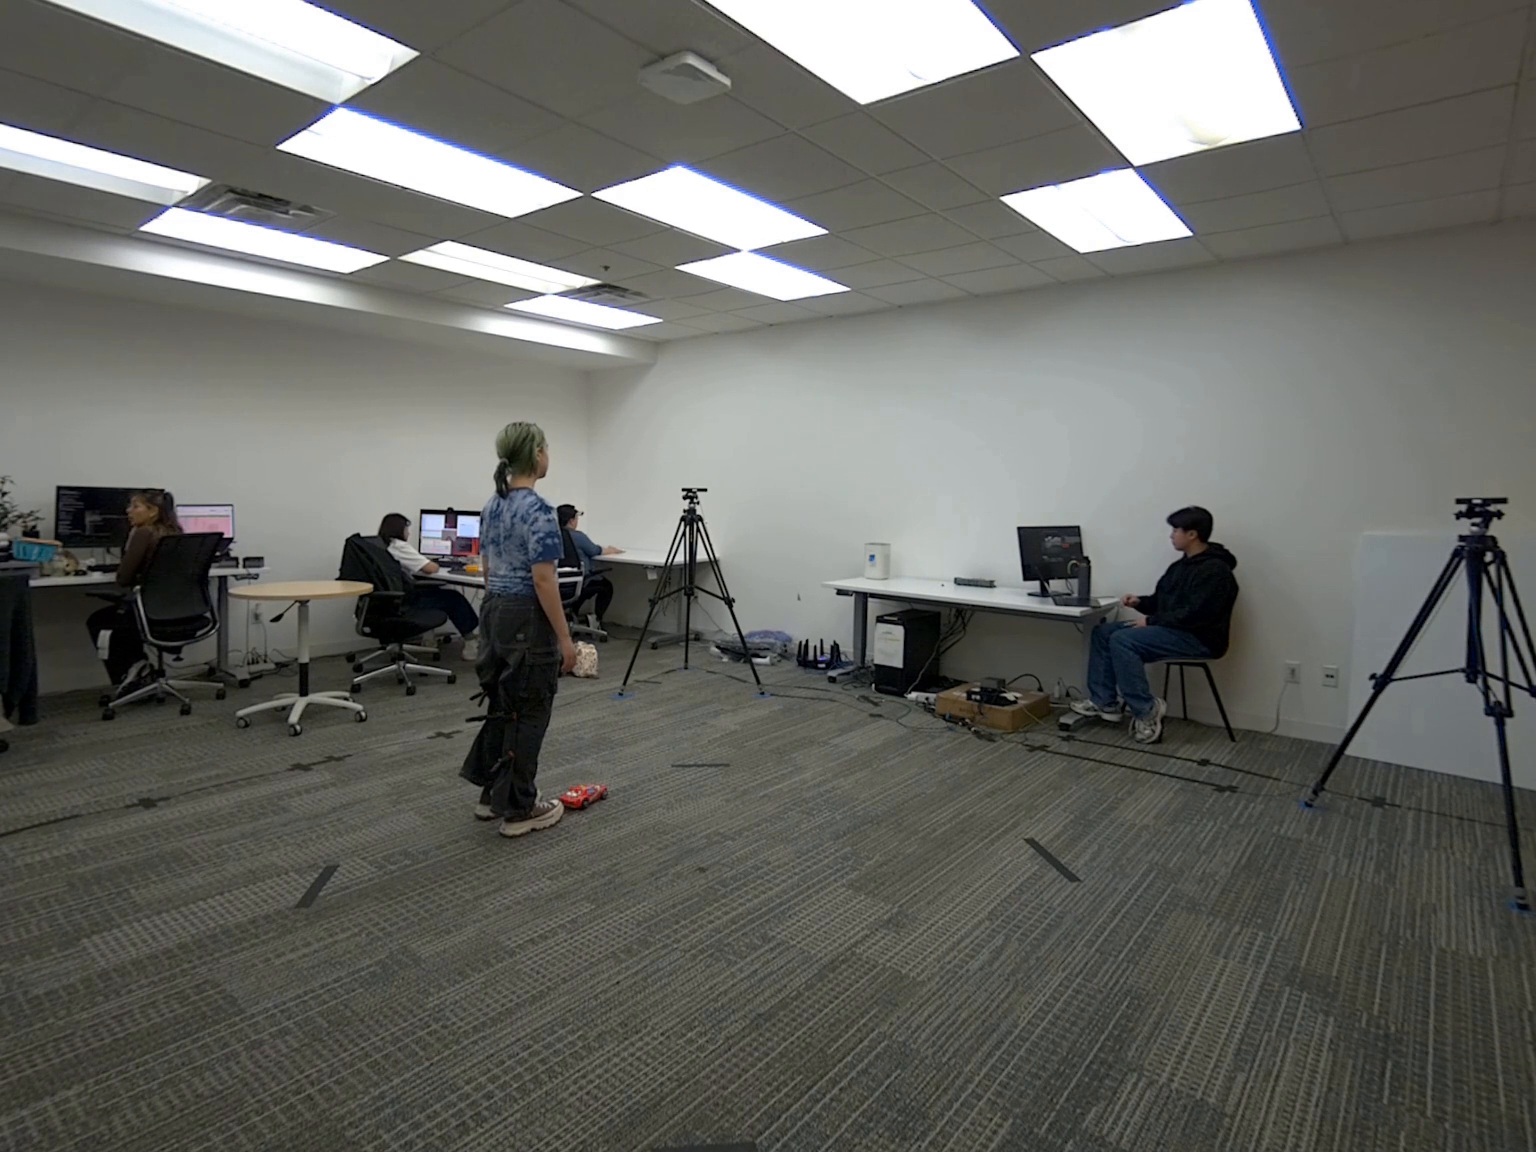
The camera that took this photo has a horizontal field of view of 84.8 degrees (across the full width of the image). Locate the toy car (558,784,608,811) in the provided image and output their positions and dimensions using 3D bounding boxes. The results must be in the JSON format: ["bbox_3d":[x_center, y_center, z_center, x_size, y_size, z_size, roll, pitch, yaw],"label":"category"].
[{"bbox_3d":[-0.830,0.970,3.746,0.134,0.083,0.246,5,-4,27],"label":"toy car"}]
